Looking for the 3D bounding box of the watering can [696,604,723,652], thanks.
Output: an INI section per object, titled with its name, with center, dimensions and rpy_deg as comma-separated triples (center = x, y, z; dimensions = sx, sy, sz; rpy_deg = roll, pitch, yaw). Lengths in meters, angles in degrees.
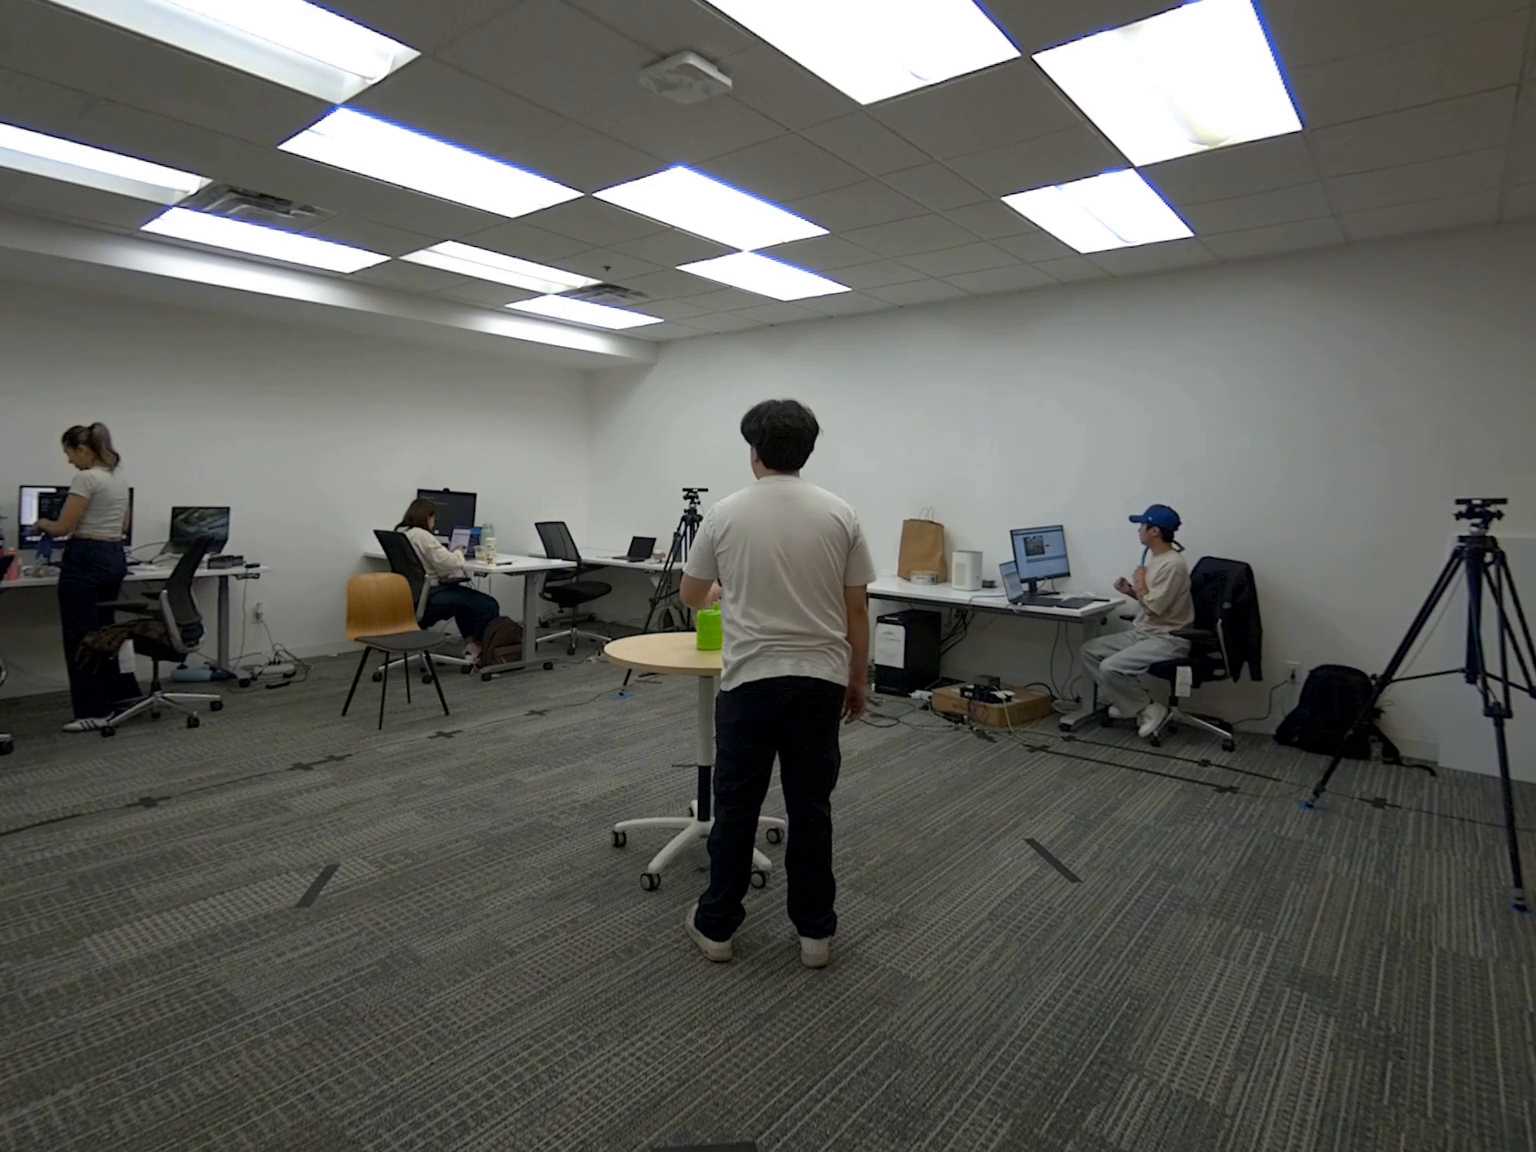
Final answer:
[watering can]
center = -0.206, 0.179, 3.230
dimensions = 0.101, 0.176, 0.270
rpy_deg = 1, 4, 38
